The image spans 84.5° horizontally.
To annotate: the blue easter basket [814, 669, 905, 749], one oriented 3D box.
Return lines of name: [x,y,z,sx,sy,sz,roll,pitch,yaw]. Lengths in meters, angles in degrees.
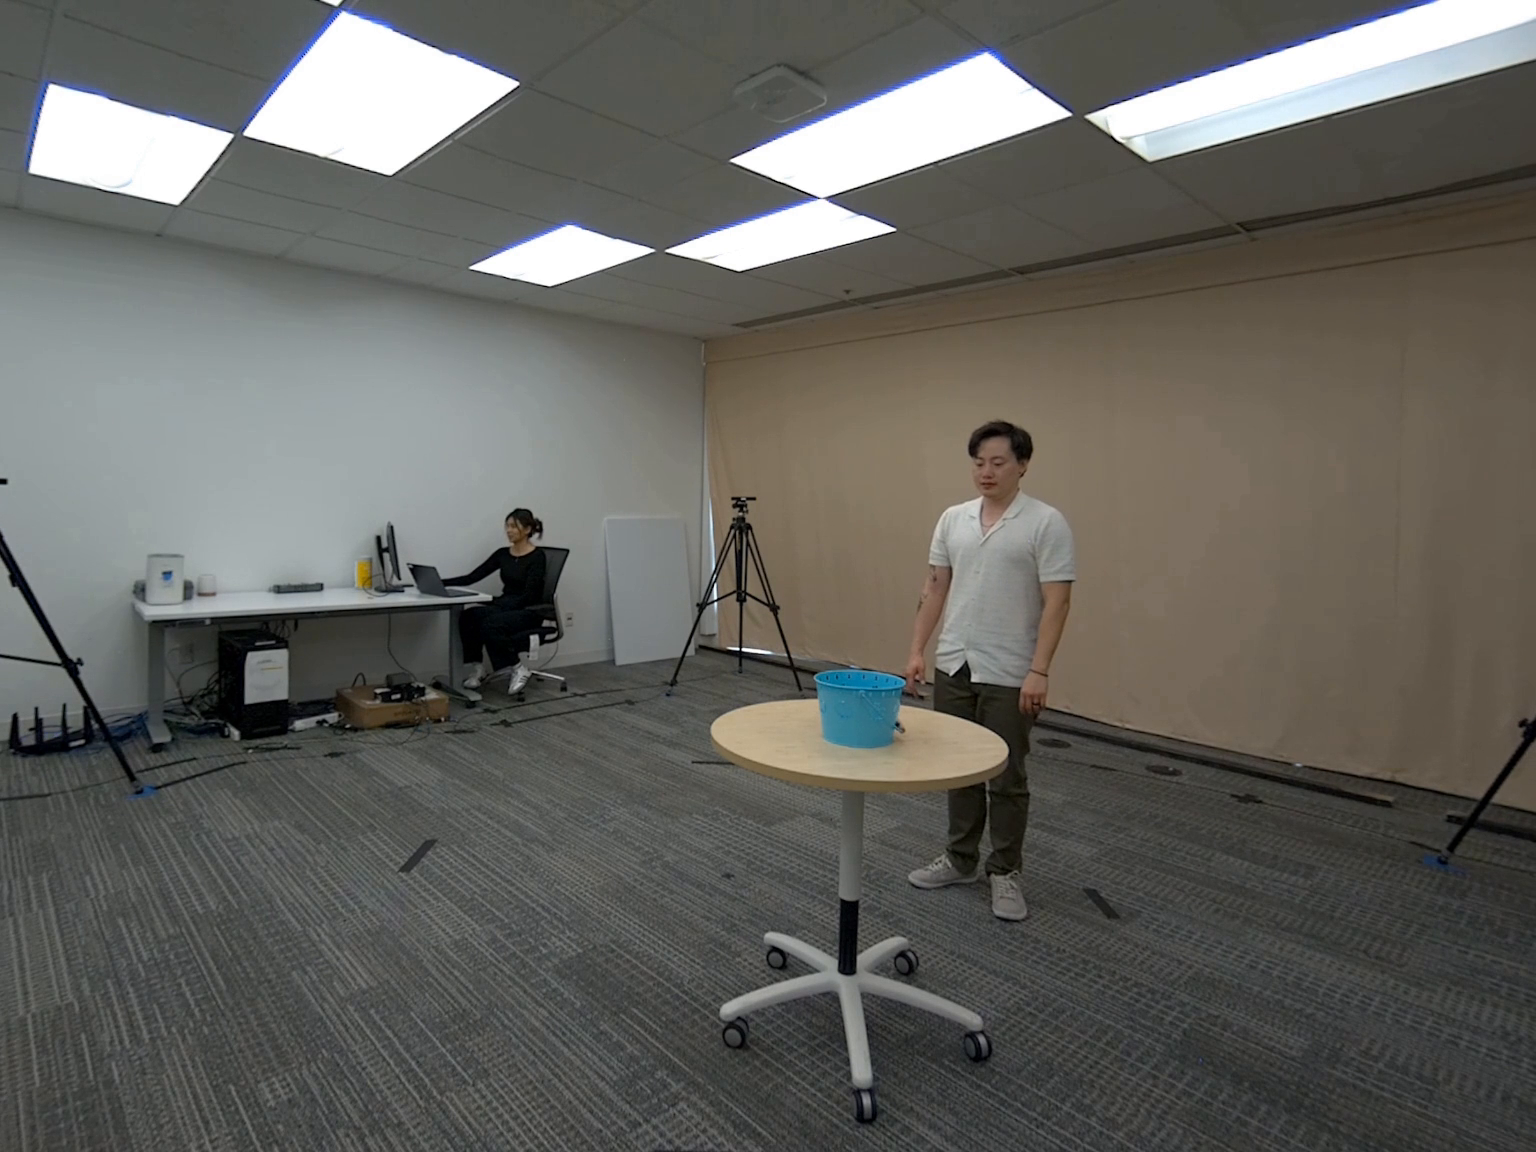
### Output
blue easter basket: [0.229,0.348,2.160,0.243,0.155,0.244,1,5,-1]
